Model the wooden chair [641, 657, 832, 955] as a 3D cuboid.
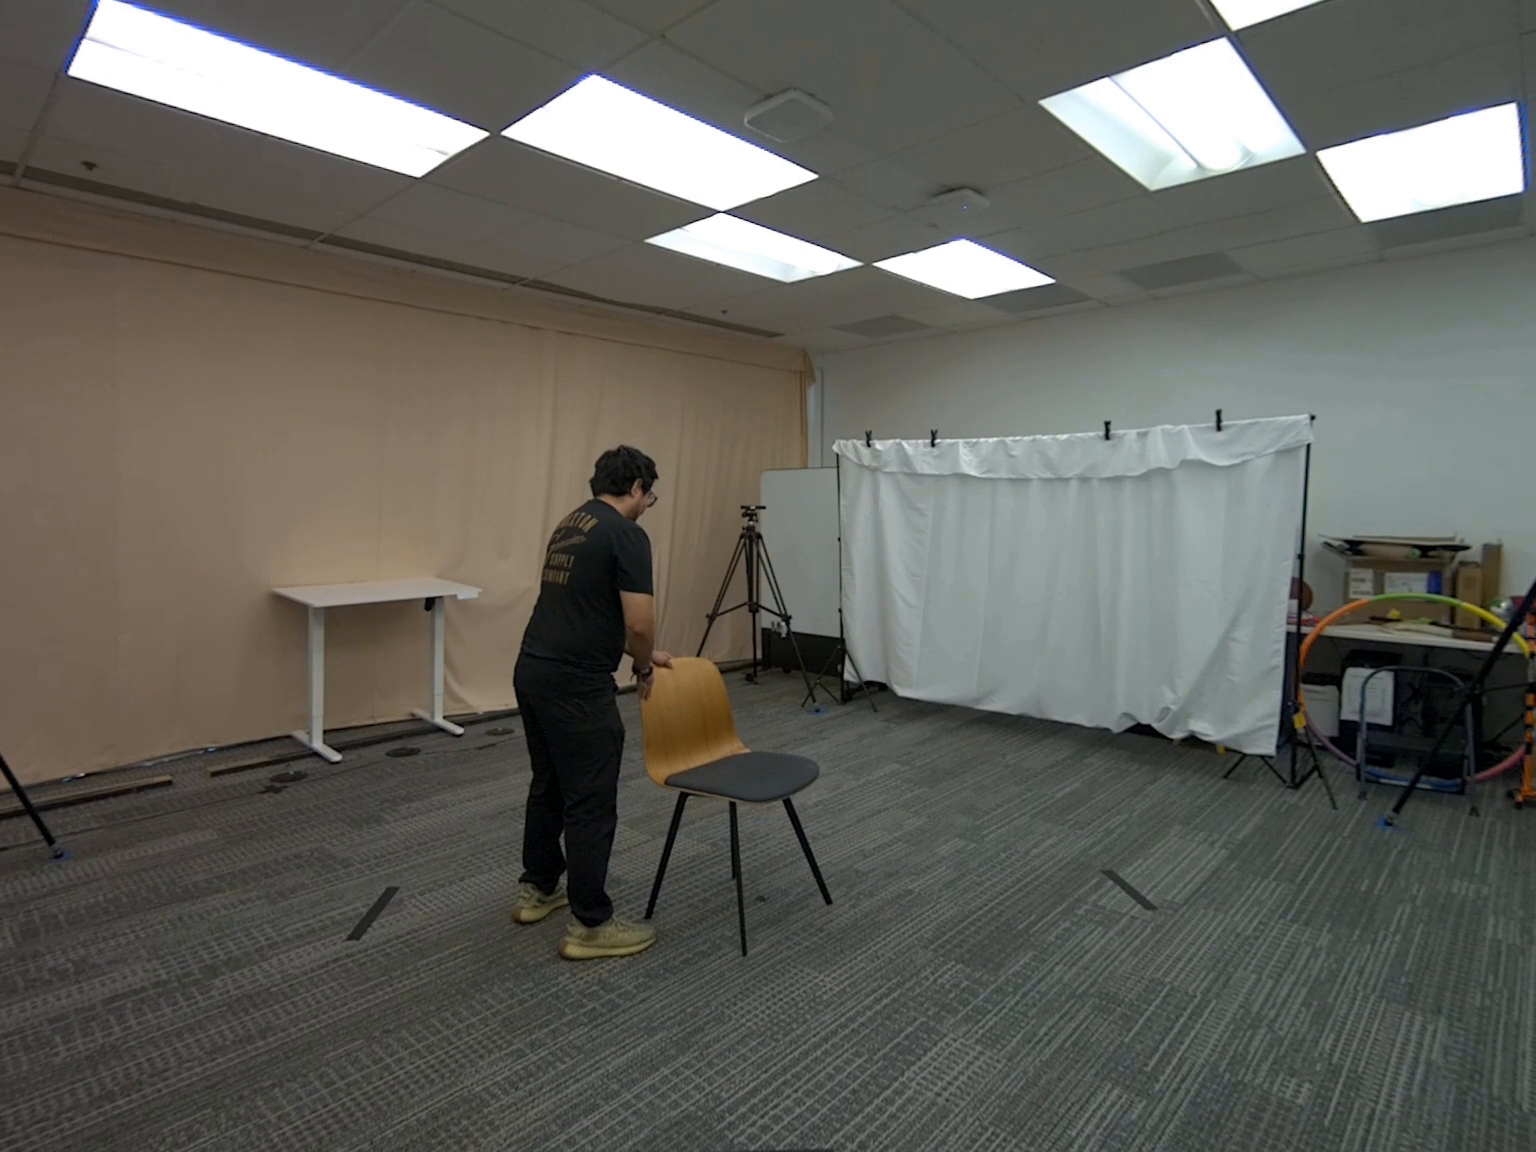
[{"bbox_3d":[-0.114,0.714,2.839,0.538,0.879,0.463,-10,-4,41],"label":"wooden chair"}]
